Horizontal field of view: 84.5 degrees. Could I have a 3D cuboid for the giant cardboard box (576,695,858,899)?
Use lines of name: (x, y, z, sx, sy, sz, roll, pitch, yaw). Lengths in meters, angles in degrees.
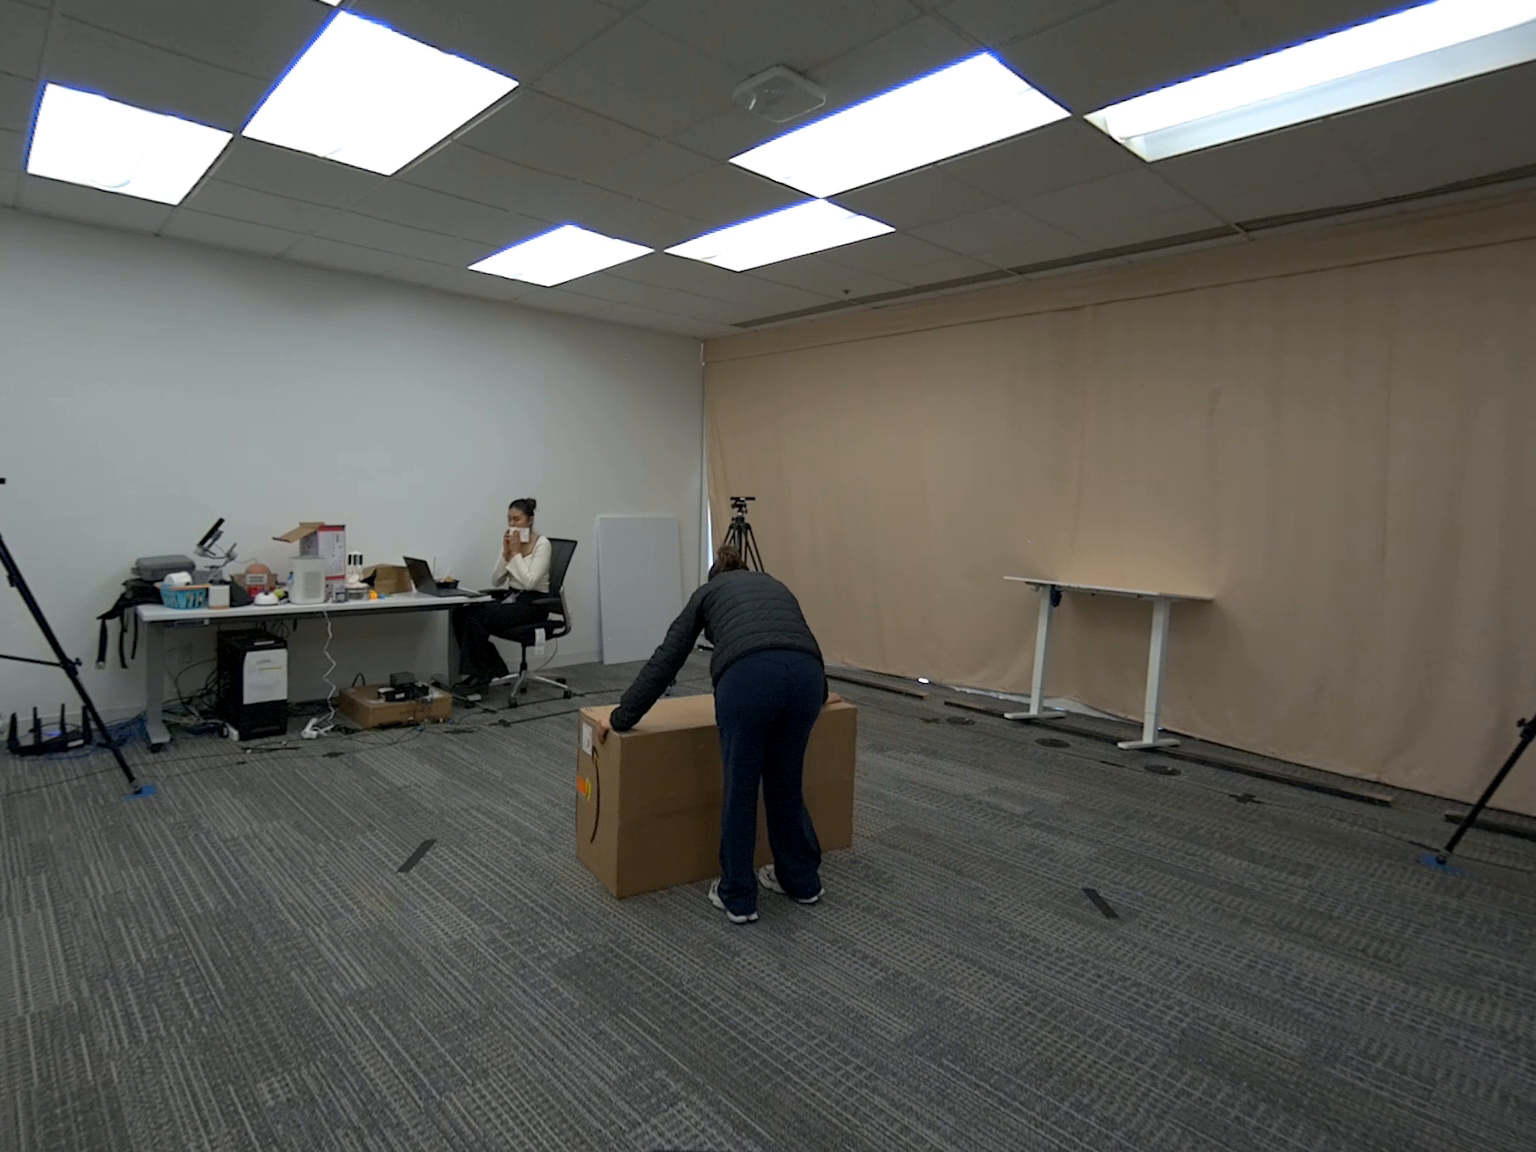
giant cardboard box: (-0.199, 0.803, 3.306, 1.006, 0.582, 0.457, -1, 6, -30)
